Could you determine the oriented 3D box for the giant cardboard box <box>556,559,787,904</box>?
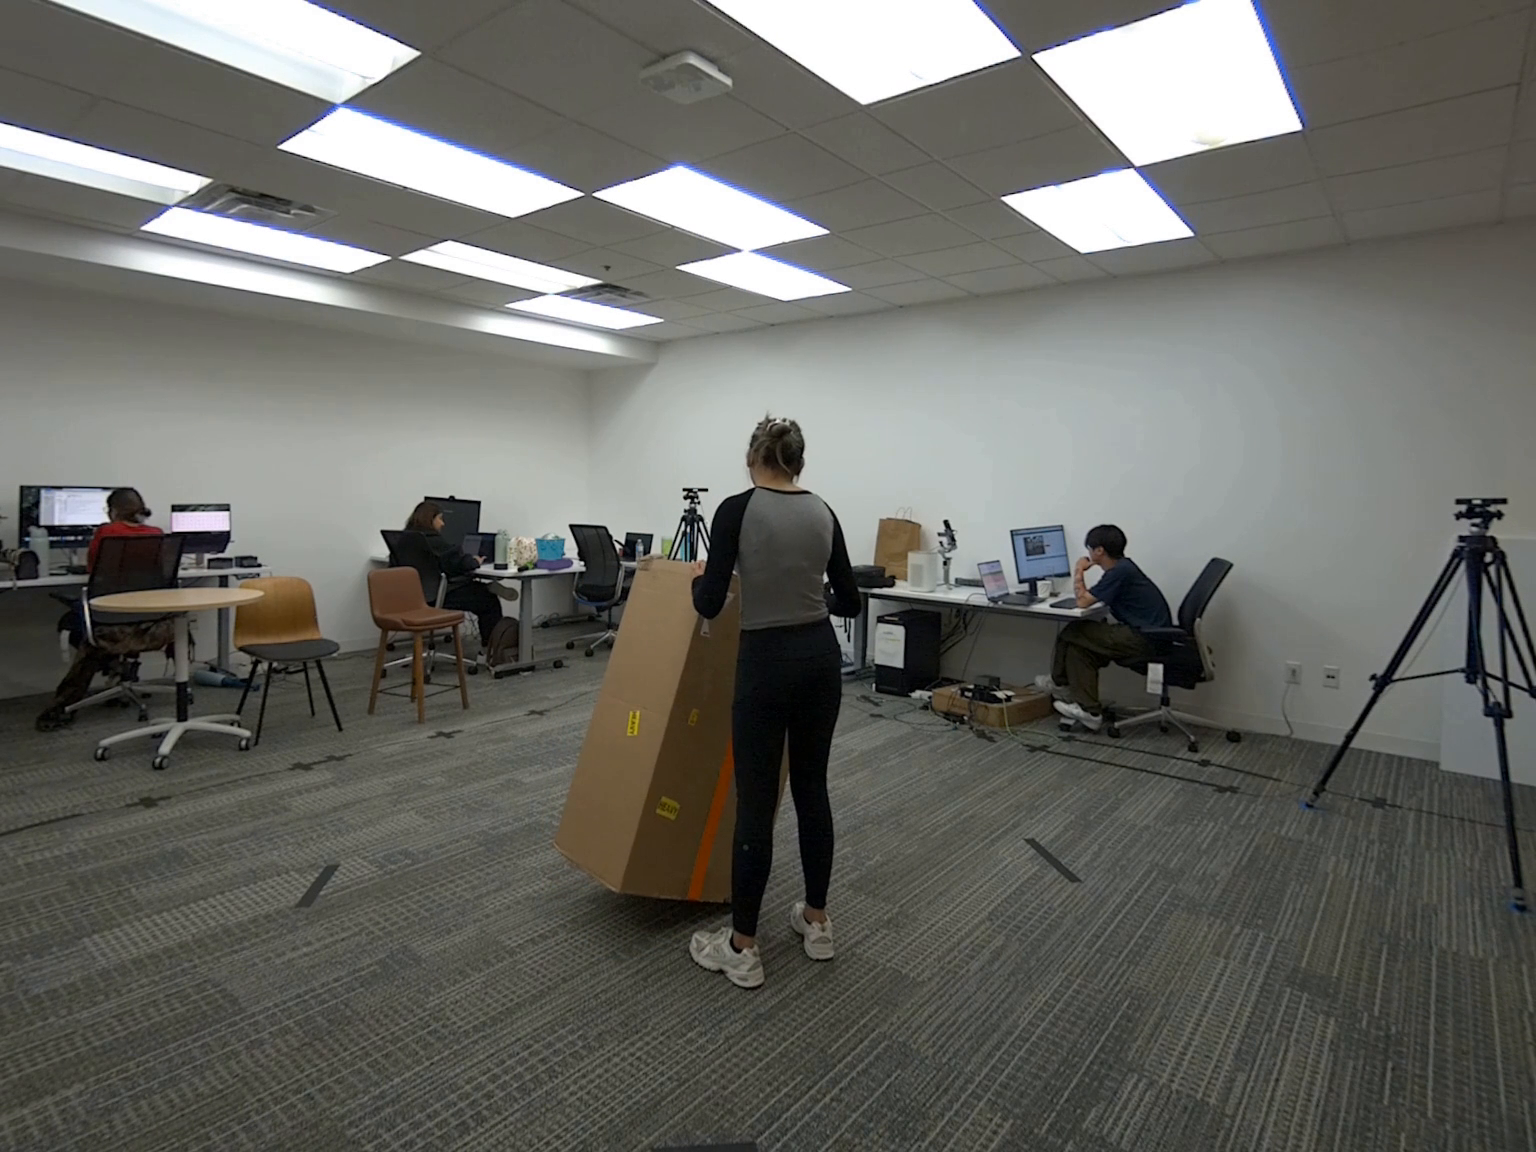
[{"bbox_3d":[-0.259,0.518,2.927,0.561,1.034,0.462,23,-13,-40],"label":"giant cardboard box"}]
